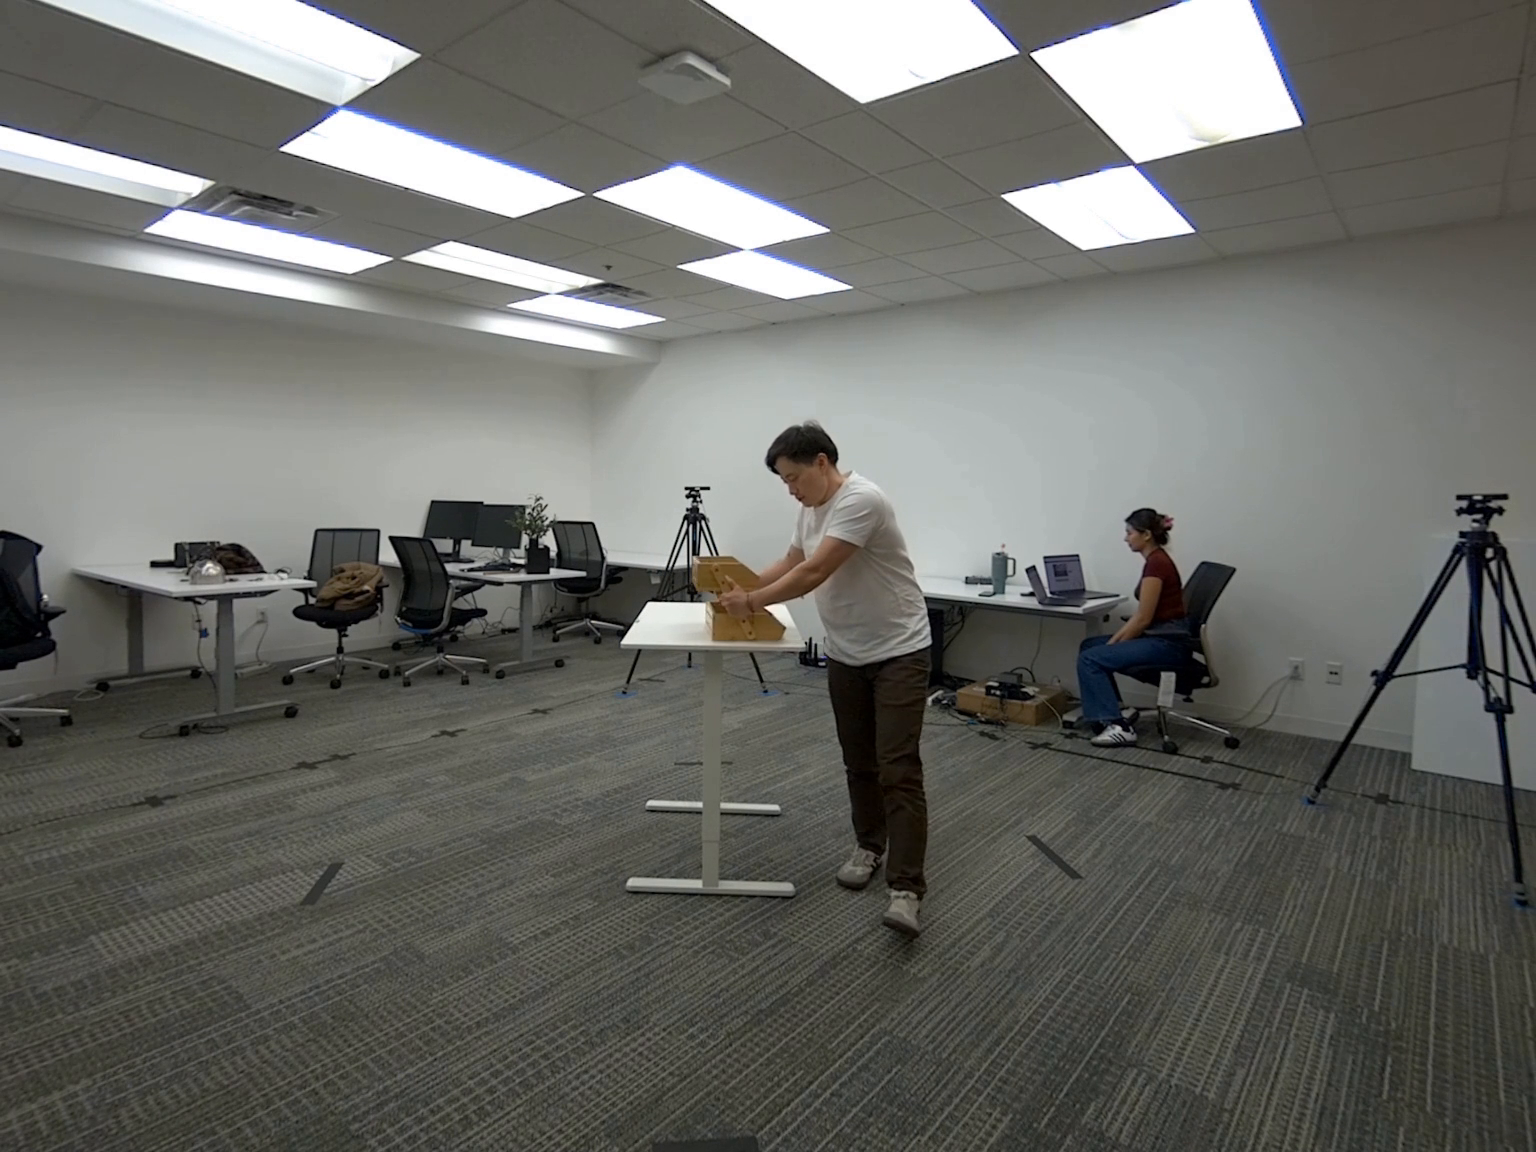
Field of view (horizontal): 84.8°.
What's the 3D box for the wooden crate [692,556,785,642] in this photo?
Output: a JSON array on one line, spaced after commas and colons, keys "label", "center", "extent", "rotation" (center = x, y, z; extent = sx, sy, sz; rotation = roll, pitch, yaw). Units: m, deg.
[{"label": "wooden crate", "center": [-0.108, 0.068, 2.982], "extent": [0.300, 0.272, 0.328], "rotation": [-1, 6, -6]}]
